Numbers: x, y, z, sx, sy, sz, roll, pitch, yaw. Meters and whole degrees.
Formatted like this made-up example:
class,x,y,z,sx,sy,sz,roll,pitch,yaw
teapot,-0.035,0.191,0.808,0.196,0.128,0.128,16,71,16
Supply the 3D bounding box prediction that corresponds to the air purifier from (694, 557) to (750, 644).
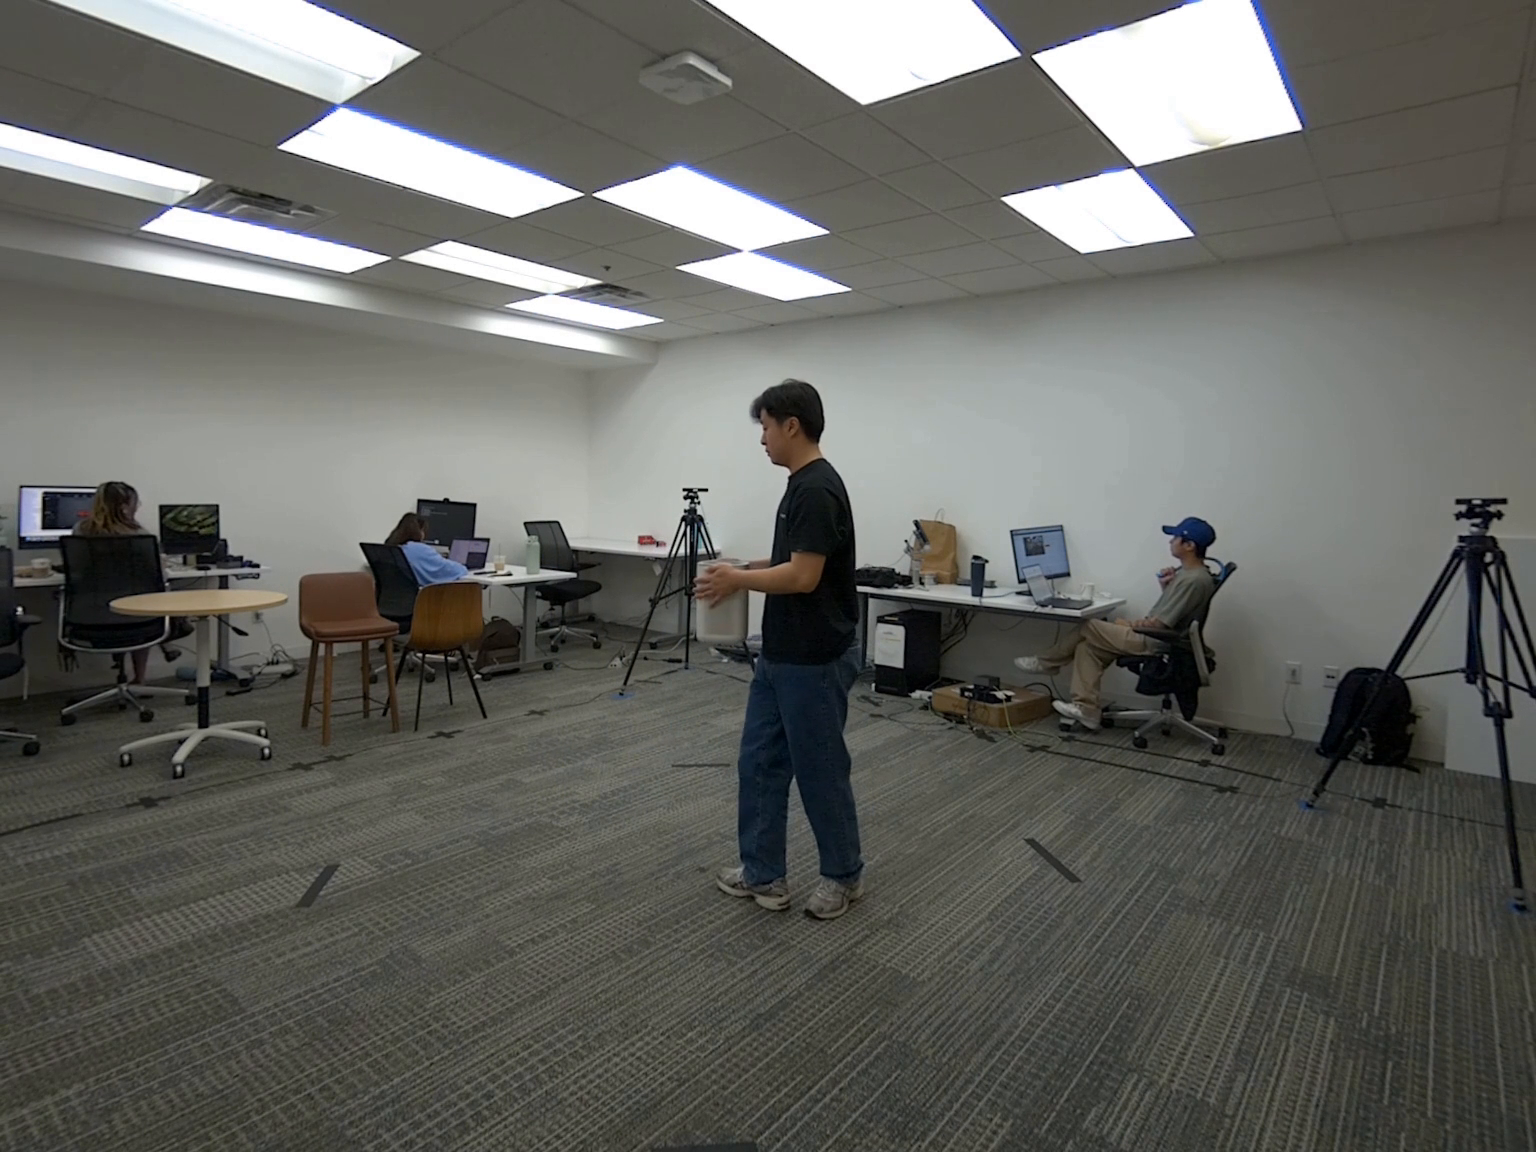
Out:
class,x,y,z,sx,sy,sz,roll,pitch,yaw
air purifier,-0.156,0.077,2.864,0.172,0.264,0.171,1,5,3
